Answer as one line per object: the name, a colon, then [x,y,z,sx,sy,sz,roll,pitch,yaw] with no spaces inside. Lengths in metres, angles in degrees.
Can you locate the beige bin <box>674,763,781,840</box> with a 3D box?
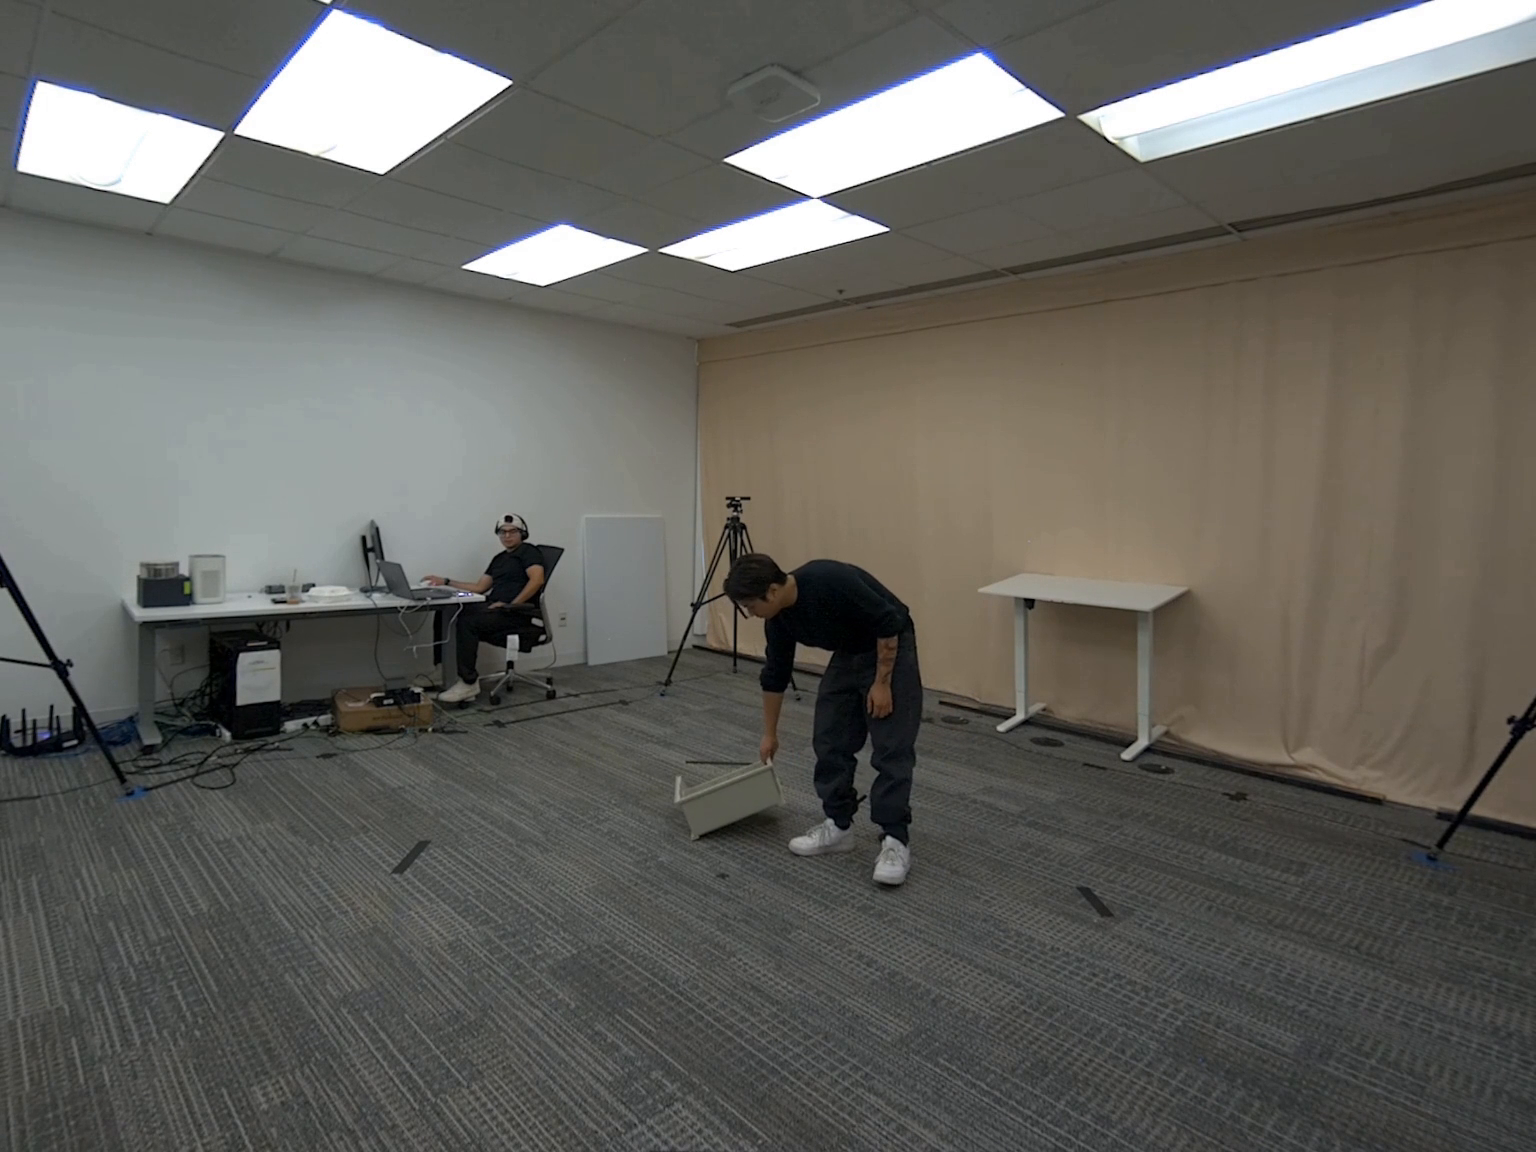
beige bin: [-0.175,0.897,3.589,0.422,0.188,0.380,-17,7,-2]
